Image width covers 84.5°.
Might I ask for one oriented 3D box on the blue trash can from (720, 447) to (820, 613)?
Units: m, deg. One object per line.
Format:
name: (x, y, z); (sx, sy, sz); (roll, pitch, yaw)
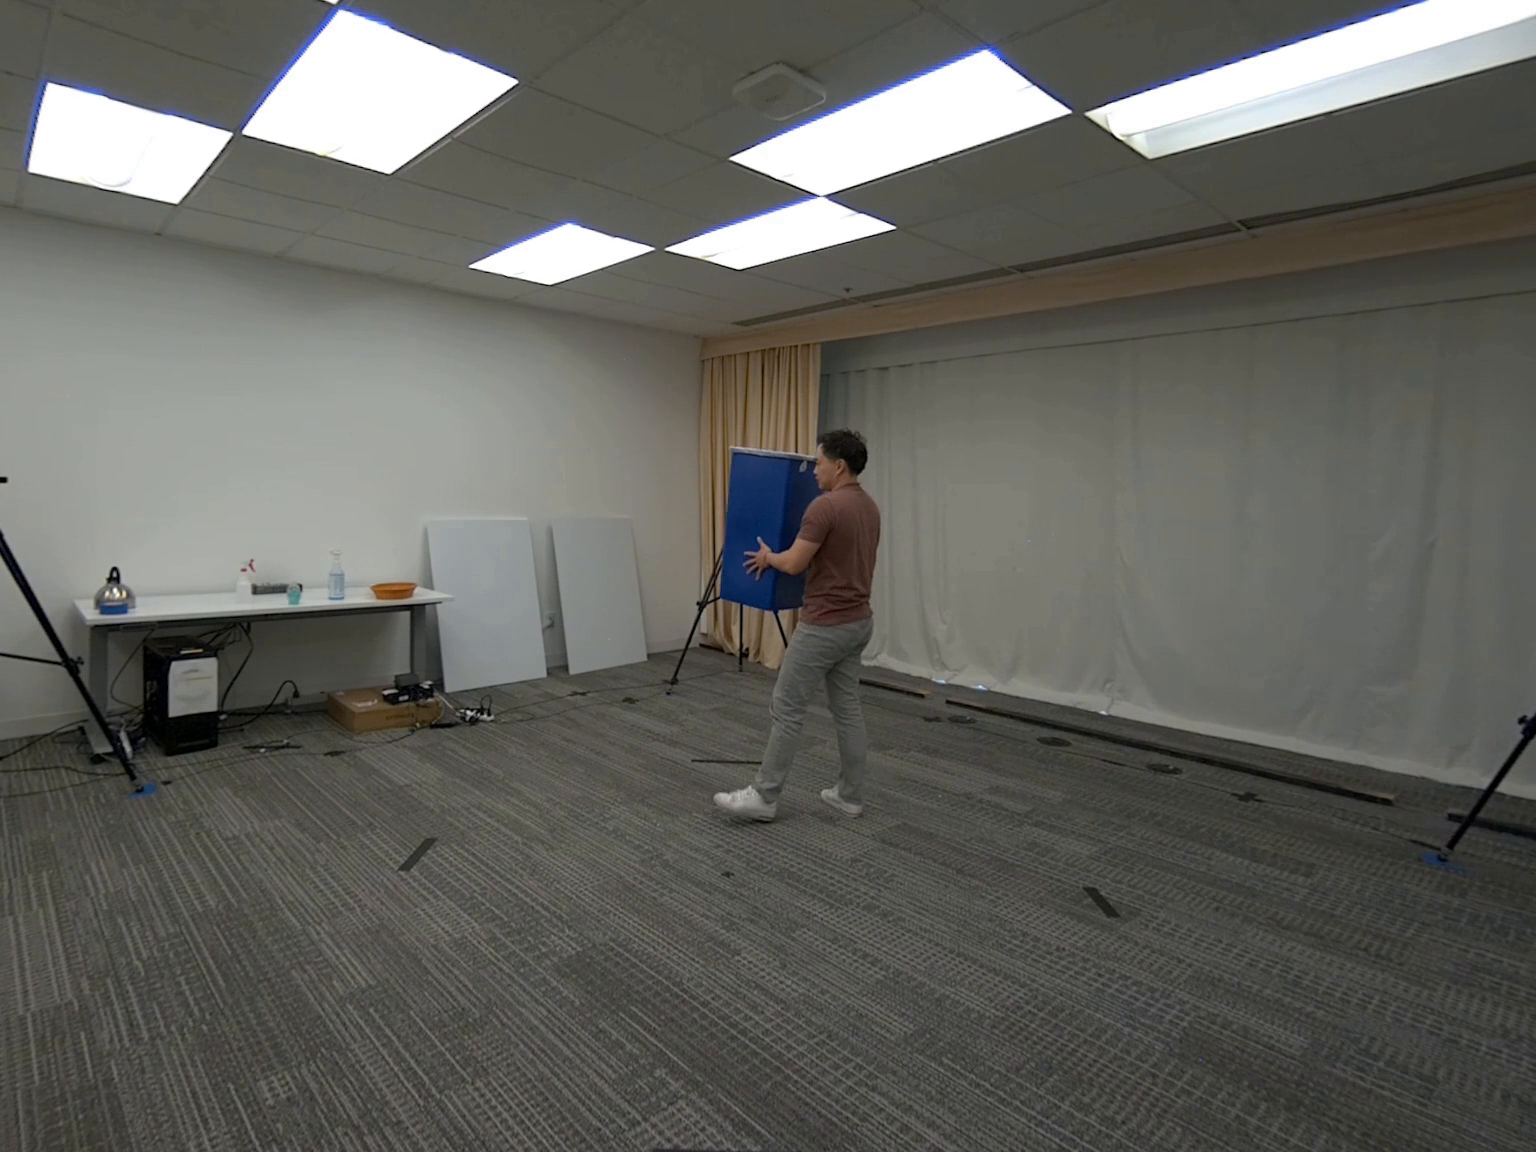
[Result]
blue trash can: (0.000, -0.227, 3.956); (0.384, 0.710, 0.370); (13, 8, 35)
